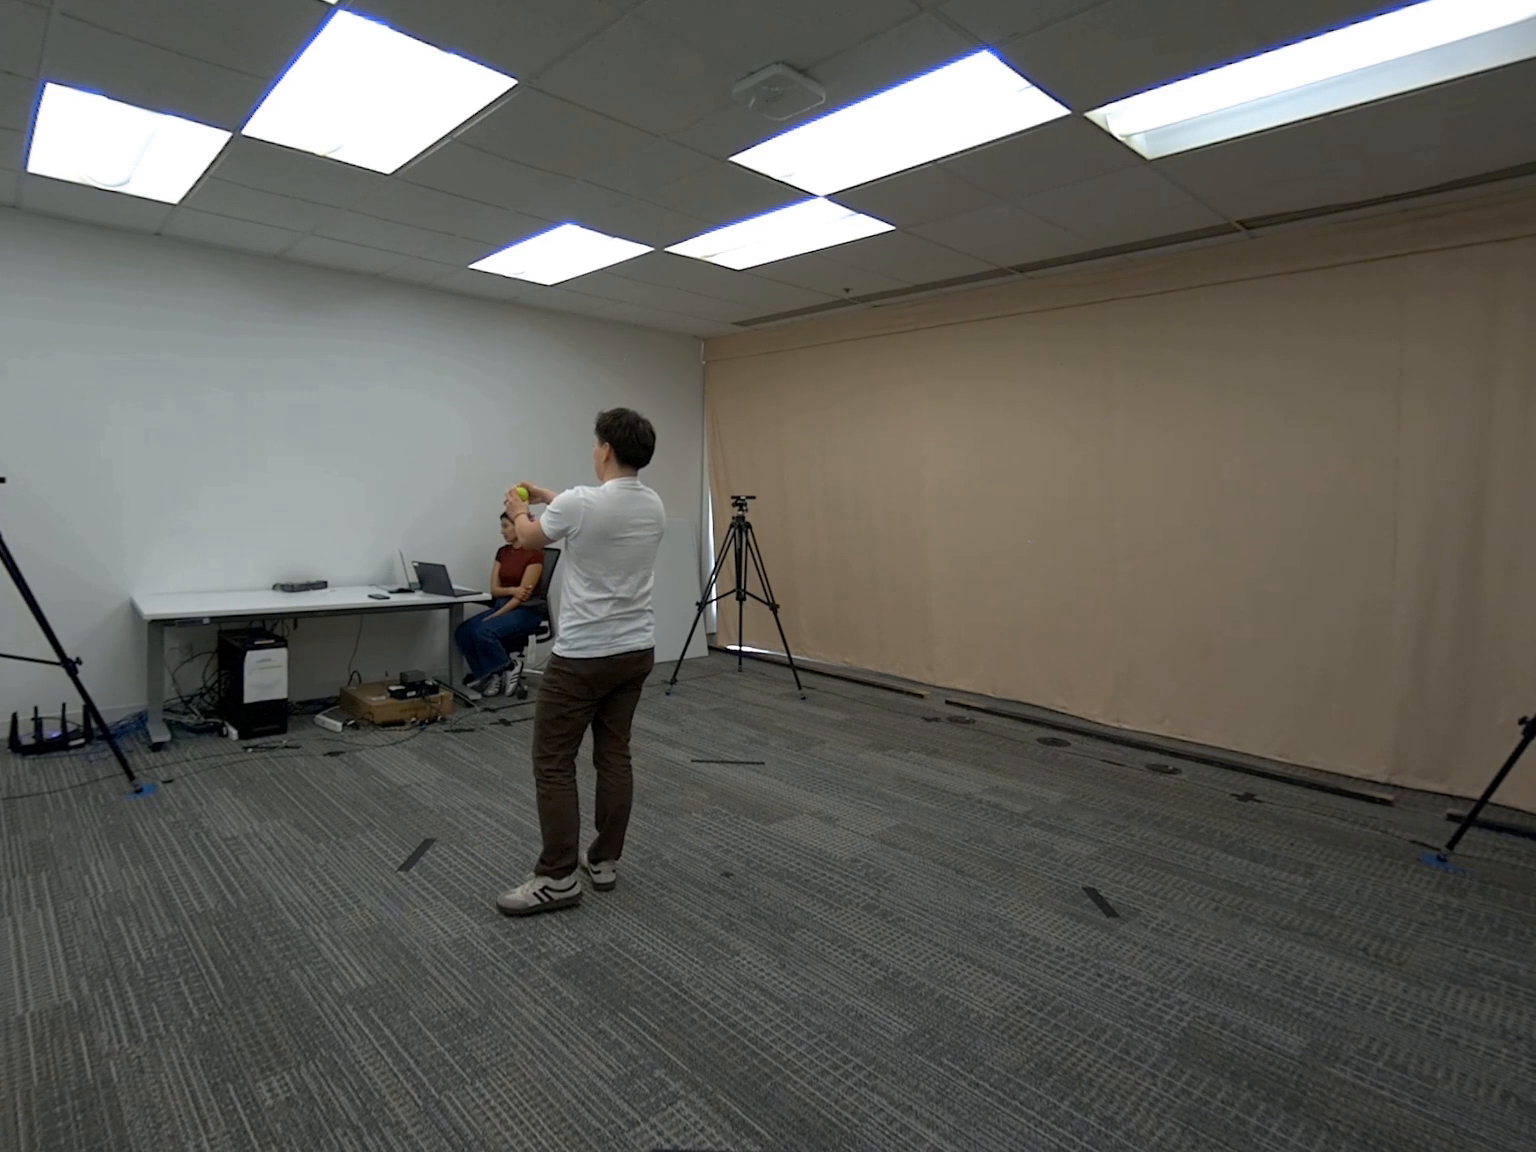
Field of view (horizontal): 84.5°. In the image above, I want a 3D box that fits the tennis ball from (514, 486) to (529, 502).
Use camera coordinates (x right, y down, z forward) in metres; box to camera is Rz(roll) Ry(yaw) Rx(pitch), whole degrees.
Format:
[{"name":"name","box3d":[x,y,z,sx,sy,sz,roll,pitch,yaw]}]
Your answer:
[{"name":"tennis ball","box3d":[-0.981,-0.318,3.231,0.066,0.066,0.067,1,4,-1]}]
